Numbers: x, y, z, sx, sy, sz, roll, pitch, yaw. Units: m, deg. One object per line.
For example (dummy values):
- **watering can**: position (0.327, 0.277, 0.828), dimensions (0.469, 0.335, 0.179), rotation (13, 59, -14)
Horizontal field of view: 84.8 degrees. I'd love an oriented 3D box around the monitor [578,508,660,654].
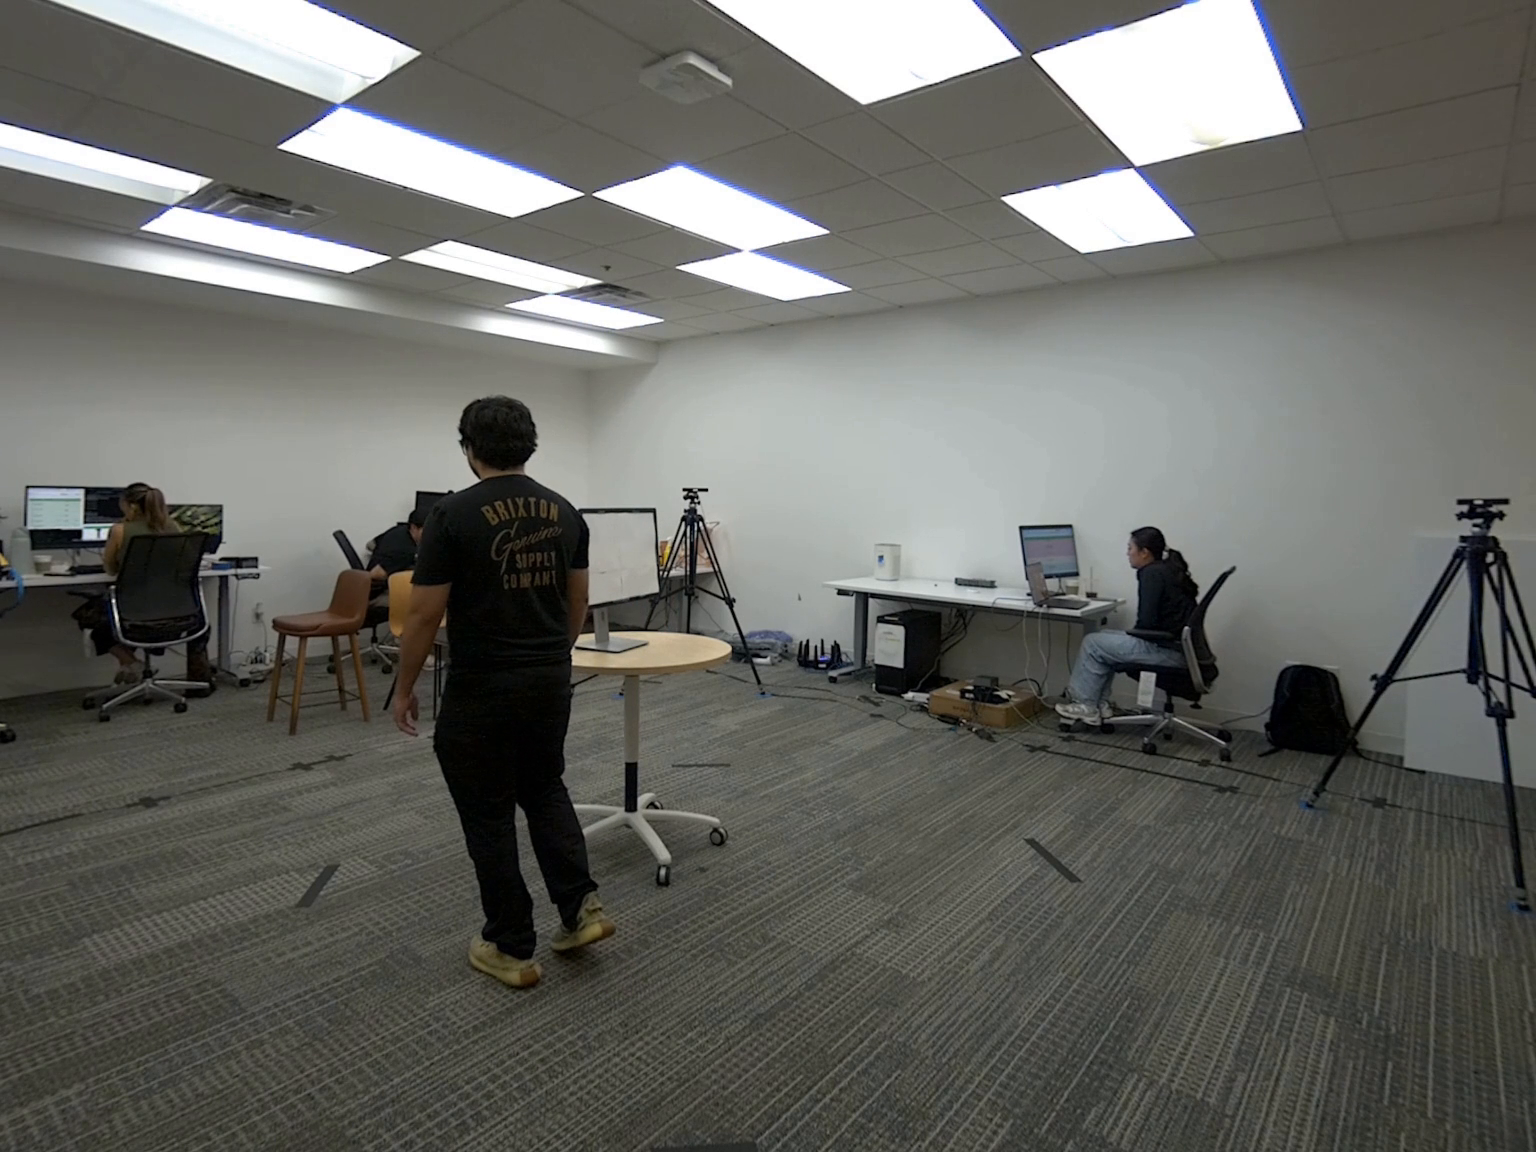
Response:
- **monitor**: position (-0.636, 0.007, 3.298), dimensions (0.215, 0.553, 0.554), rotation (-1, 3, 23)
